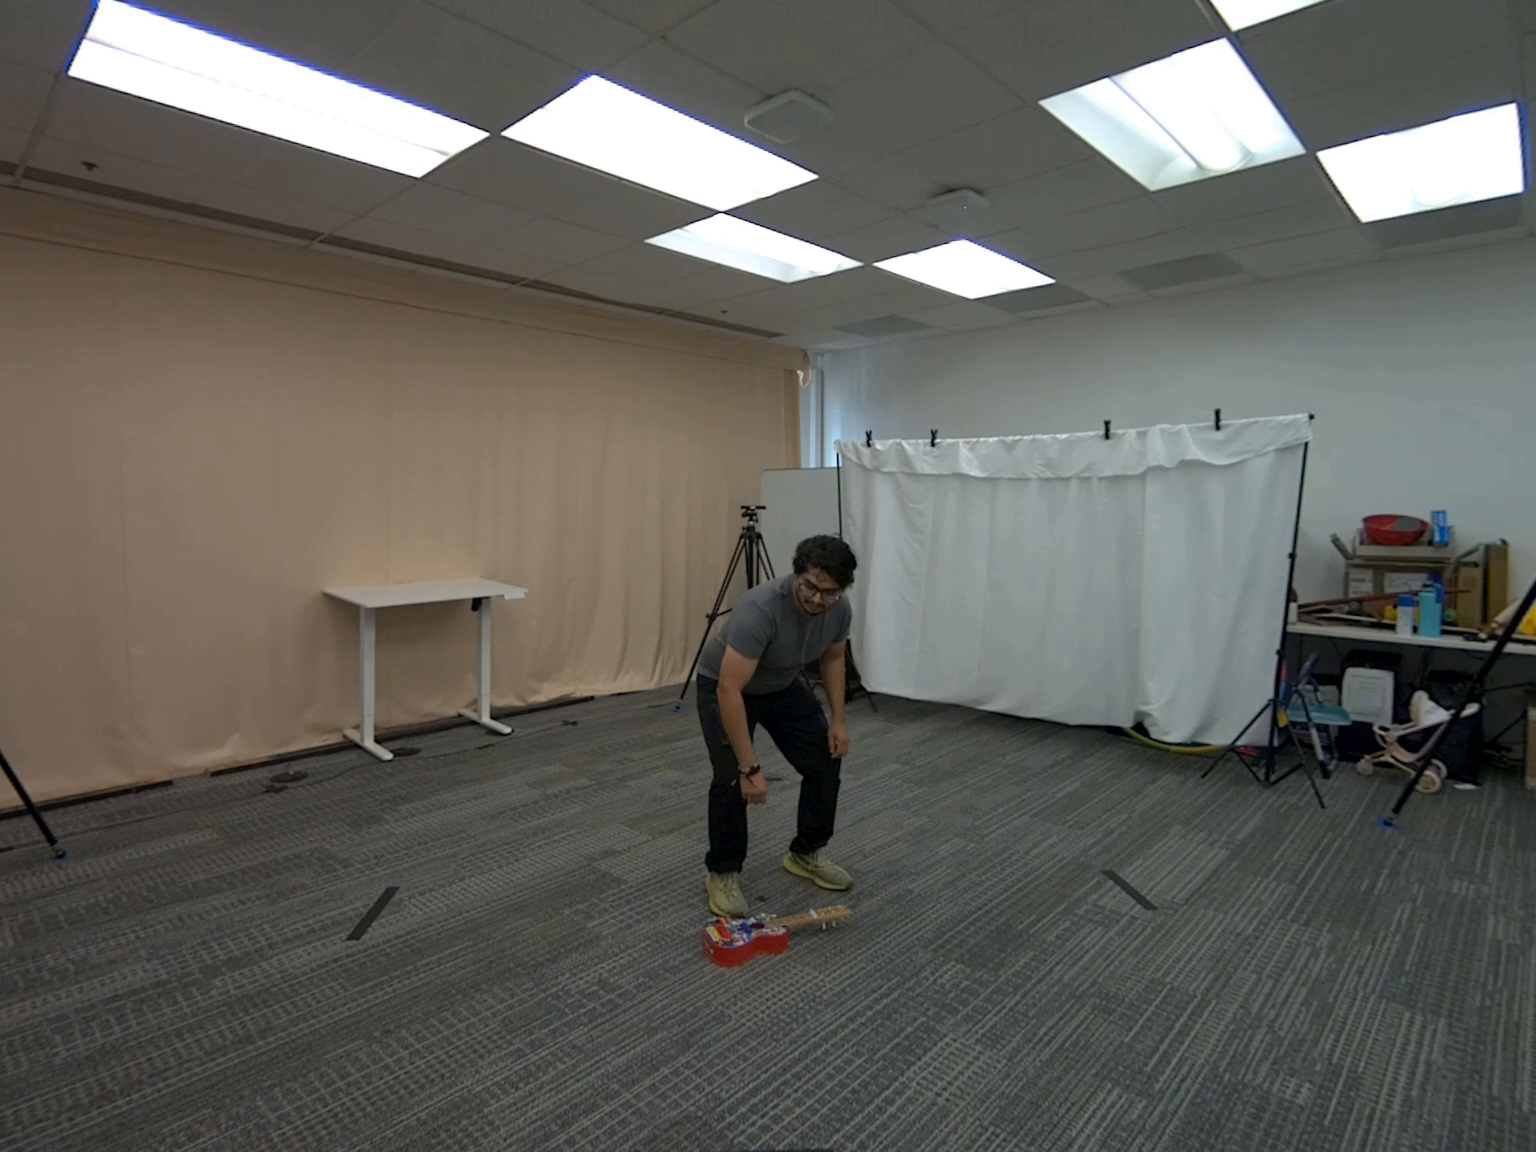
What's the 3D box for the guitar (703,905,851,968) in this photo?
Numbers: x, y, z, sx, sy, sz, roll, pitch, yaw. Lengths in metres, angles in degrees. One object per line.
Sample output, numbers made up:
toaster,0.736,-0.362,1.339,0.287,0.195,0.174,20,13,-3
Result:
guitar,0.046,1.133,2.672,0.492,0.070,0.196,-1,4,-11
